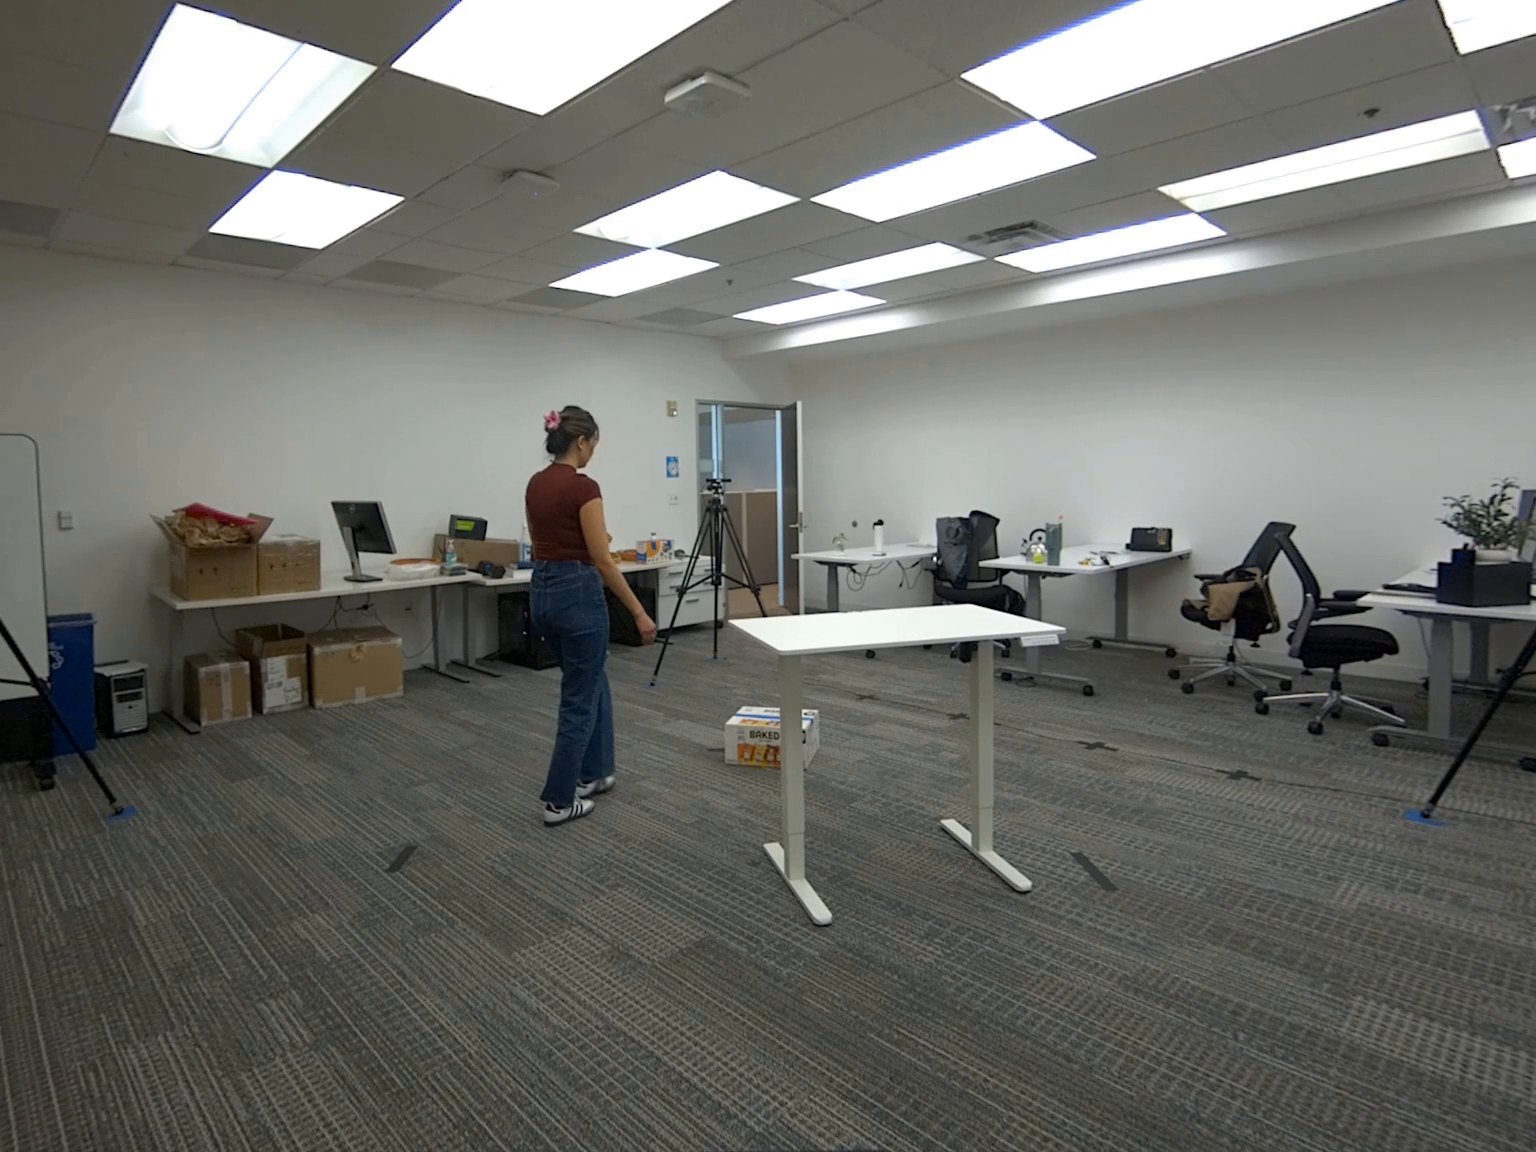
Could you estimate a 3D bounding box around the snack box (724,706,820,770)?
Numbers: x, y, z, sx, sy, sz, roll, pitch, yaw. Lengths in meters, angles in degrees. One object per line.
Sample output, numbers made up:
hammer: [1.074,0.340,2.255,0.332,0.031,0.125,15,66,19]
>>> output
snack box: [0.023,0.809,4.309,0.411,0.205,0.337,0,6,15]
